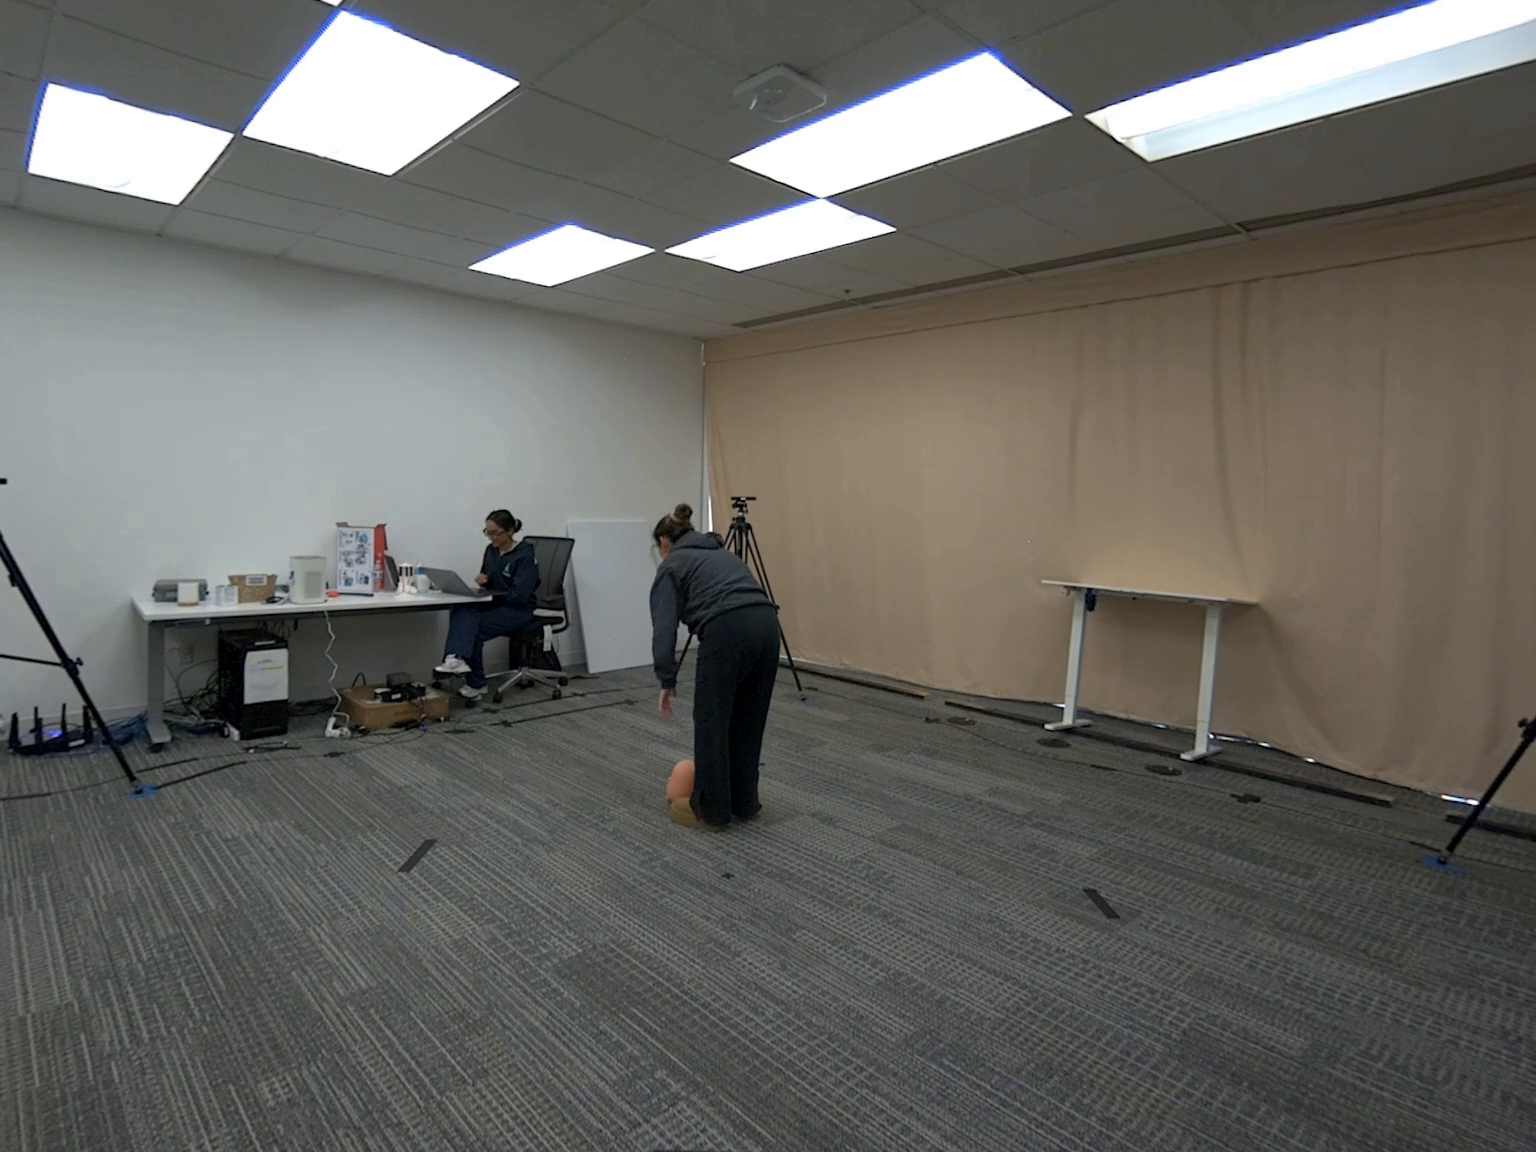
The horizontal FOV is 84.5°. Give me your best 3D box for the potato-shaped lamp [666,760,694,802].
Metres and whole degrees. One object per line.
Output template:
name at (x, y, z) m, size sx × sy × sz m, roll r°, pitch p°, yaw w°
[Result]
potato-shaped lamp at (-0.387, 0.928, 3.846) m, size 0.176 × 0.197 × 0.161 m, roll 7°, pitch 6°, yaw 40°
